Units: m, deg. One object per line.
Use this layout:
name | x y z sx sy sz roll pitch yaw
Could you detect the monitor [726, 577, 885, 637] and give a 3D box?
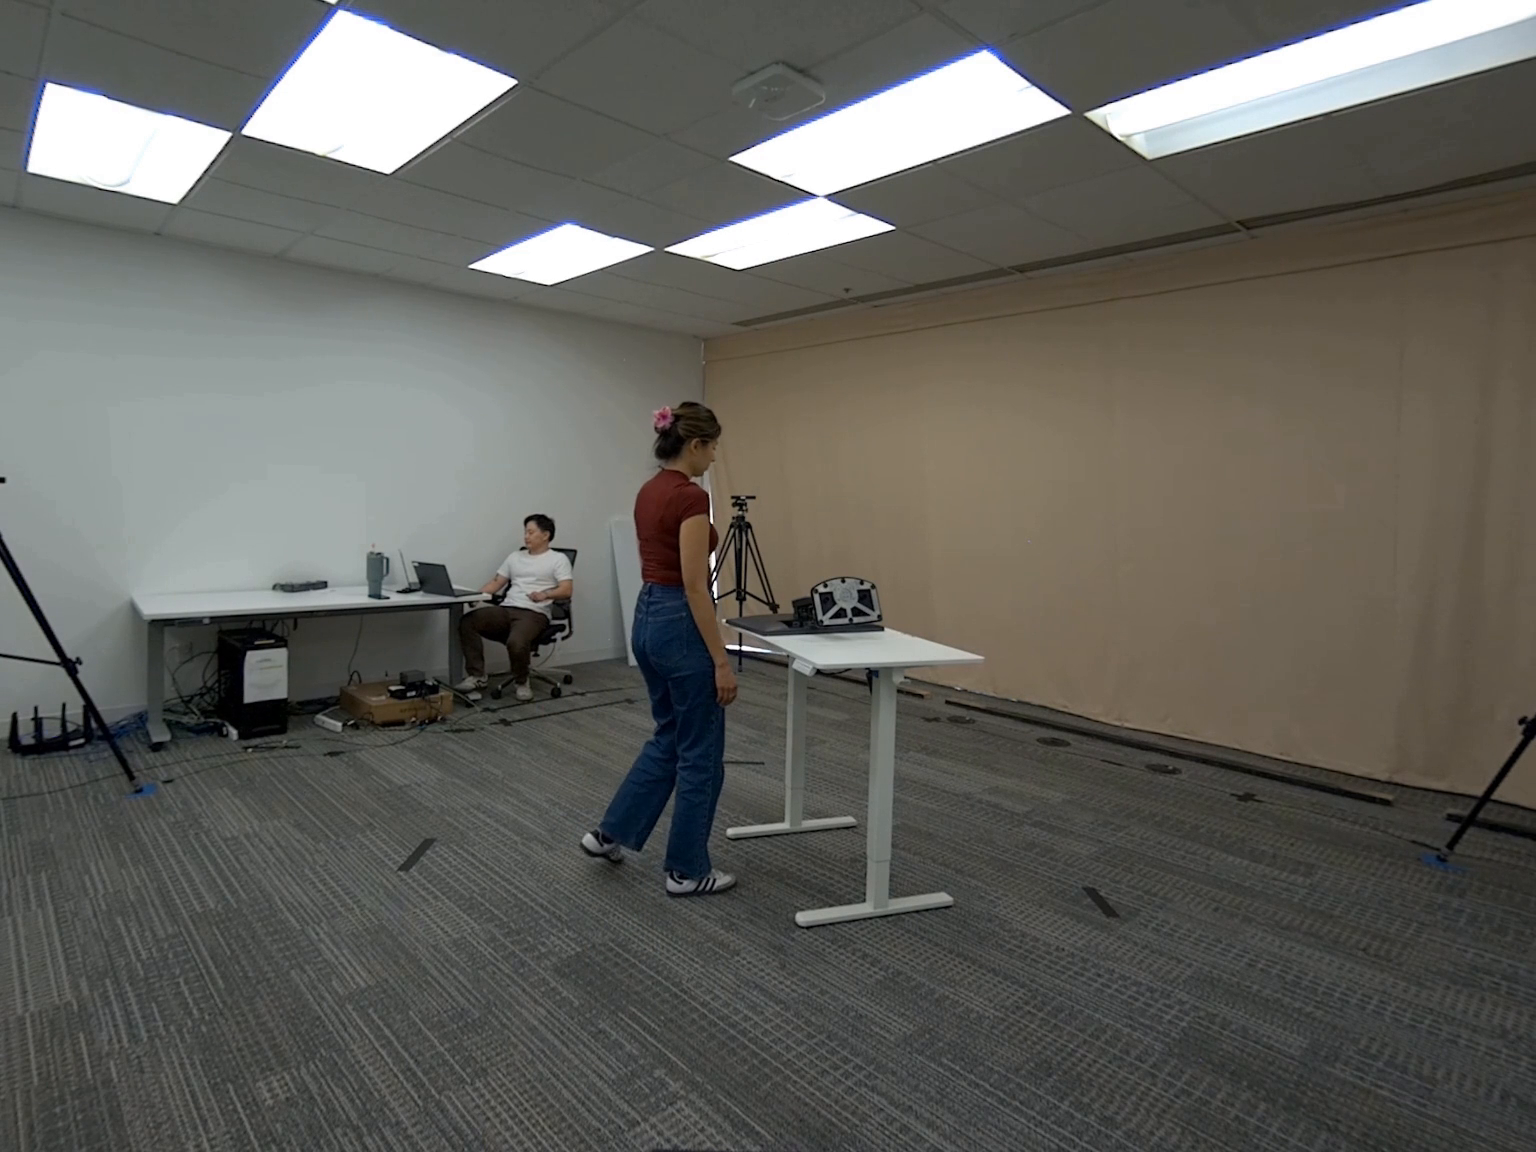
monitor | 0.167 0.148 3.297 0.530 0.189 0.526 0 -12 -24
